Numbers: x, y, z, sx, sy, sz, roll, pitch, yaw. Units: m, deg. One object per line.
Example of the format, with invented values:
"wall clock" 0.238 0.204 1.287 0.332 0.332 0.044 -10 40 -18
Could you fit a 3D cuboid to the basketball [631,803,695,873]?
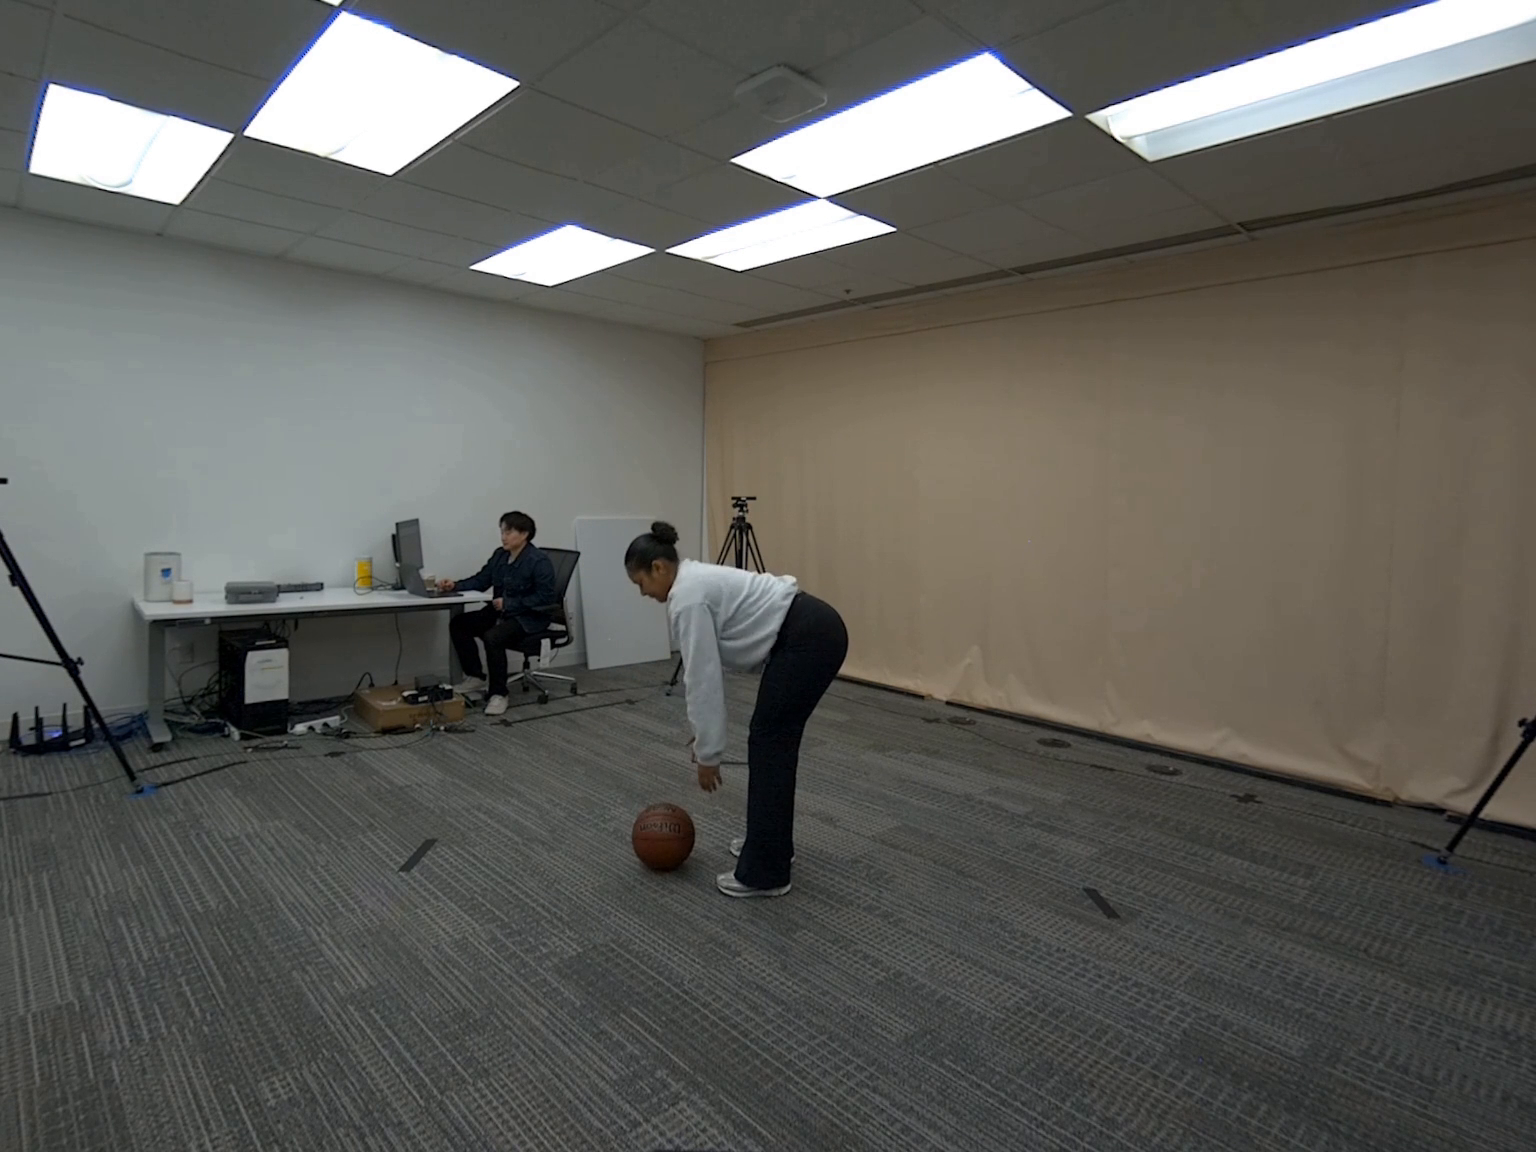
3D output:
"basketball" -0.395 0.967 3.159 0.236 0.235 0.237 1 4 -1
